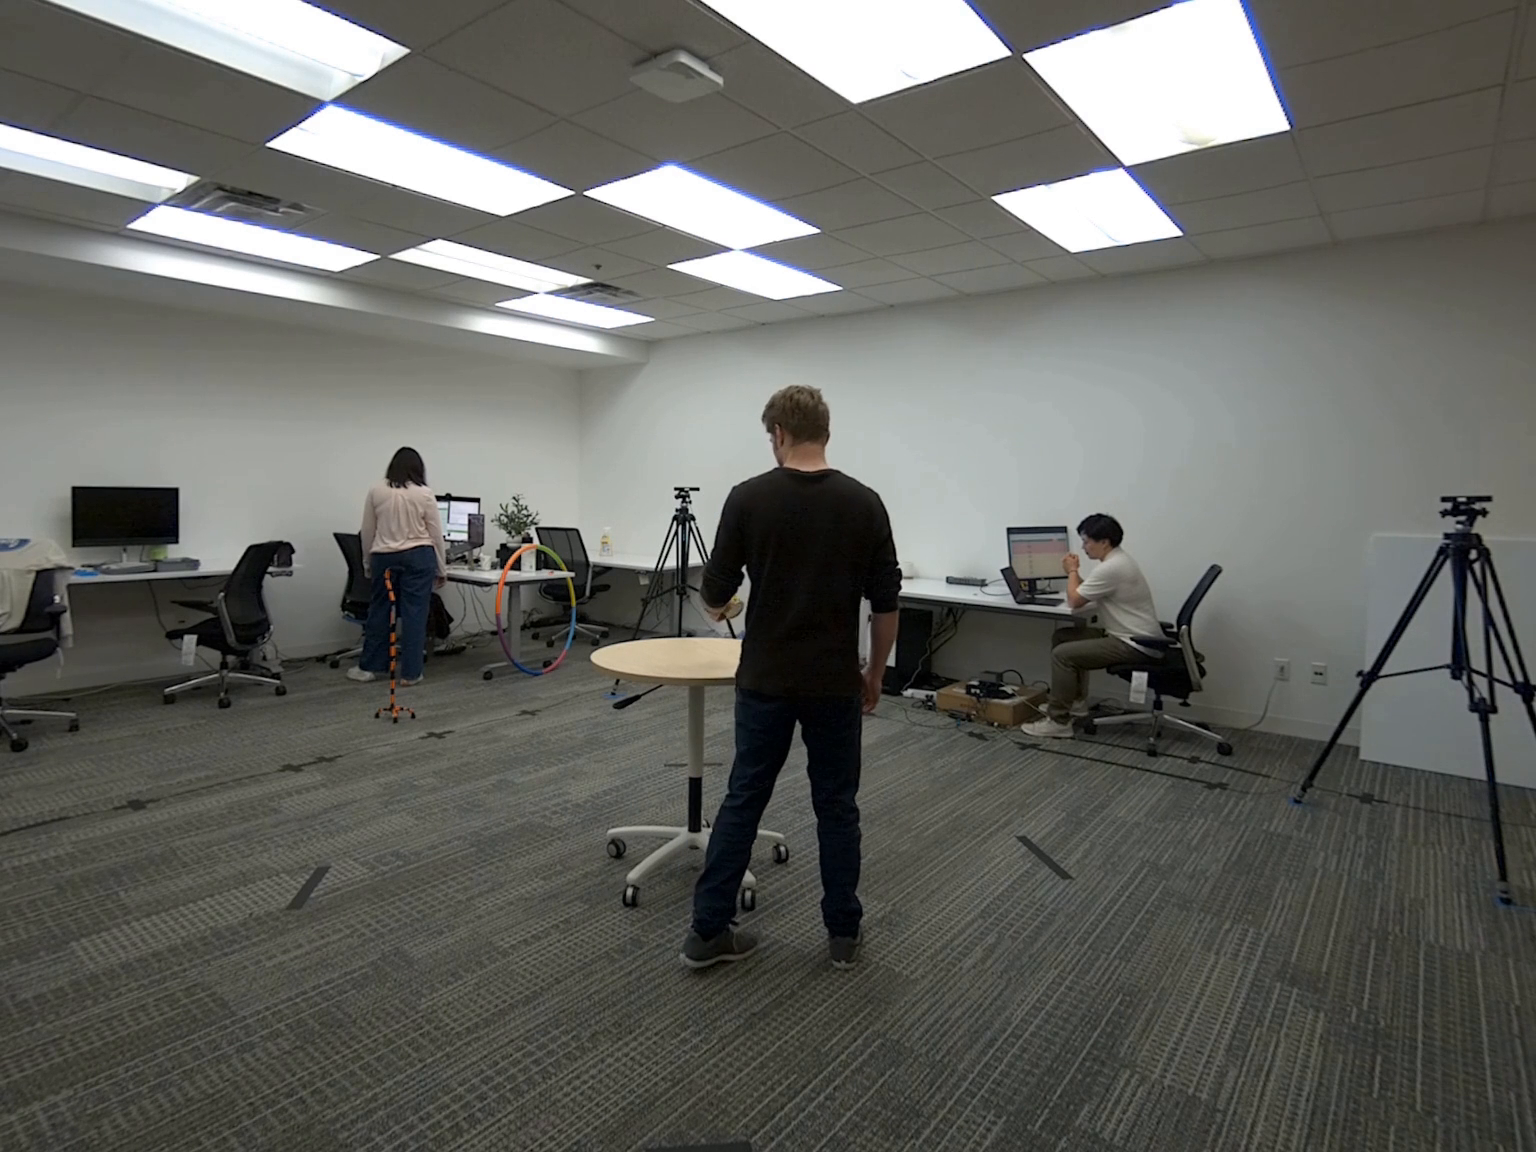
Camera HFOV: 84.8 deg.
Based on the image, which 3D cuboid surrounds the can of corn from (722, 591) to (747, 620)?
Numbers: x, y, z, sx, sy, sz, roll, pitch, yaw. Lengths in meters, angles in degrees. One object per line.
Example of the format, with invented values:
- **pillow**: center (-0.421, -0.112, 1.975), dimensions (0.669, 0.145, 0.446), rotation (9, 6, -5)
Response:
- **can of corn**: center (-0.149, 0.079, 2.850), dimensions (0.072, 0.073, 0.116), rotation (-3, 35, -44)
